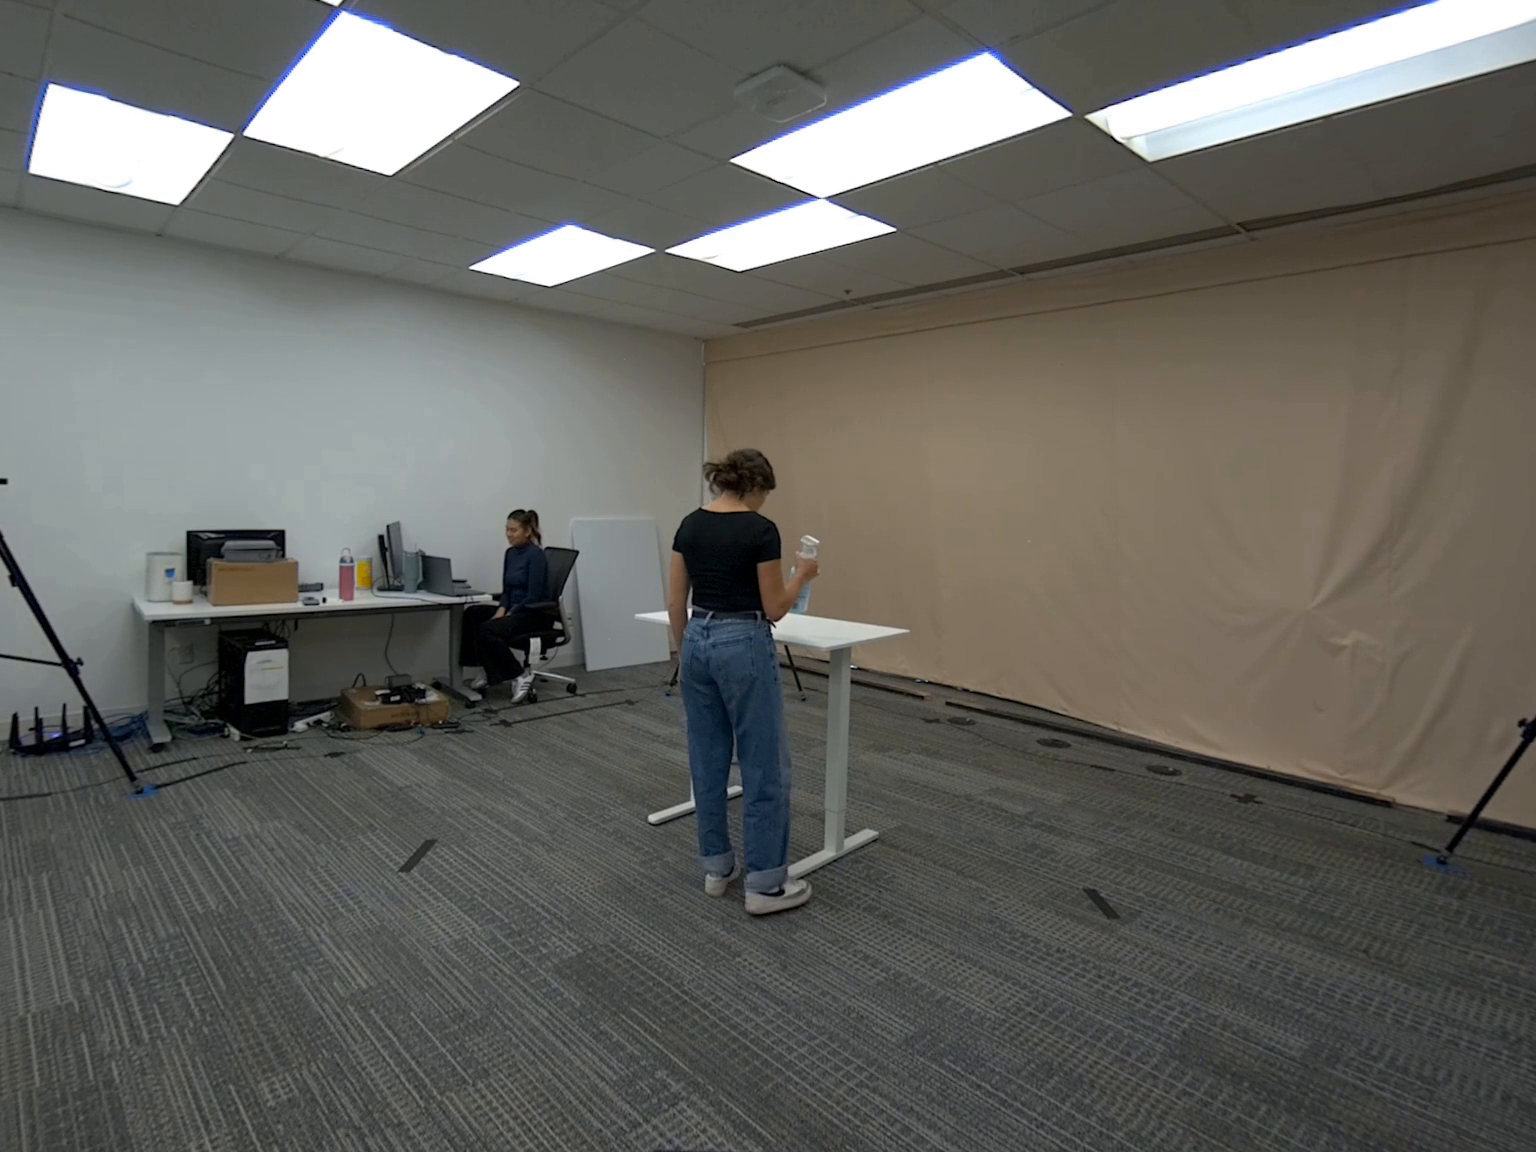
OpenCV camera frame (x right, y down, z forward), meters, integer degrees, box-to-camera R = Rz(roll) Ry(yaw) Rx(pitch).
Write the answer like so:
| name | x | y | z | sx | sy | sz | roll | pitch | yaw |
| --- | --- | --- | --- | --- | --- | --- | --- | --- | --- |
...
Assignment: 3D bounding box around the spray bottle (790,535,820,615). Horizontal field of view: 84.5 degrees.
| name | x | y | z | sx | sy | sz | roll | pitch | yaw |
| --- | --- | --- | --- | --- | --- | --- | --- | --- | --- |
| spray bottle | 0.121 | -0.009 | 3.091 | 0.086 | 0.293 | 0.092 | 5 | 22 | -10 |
